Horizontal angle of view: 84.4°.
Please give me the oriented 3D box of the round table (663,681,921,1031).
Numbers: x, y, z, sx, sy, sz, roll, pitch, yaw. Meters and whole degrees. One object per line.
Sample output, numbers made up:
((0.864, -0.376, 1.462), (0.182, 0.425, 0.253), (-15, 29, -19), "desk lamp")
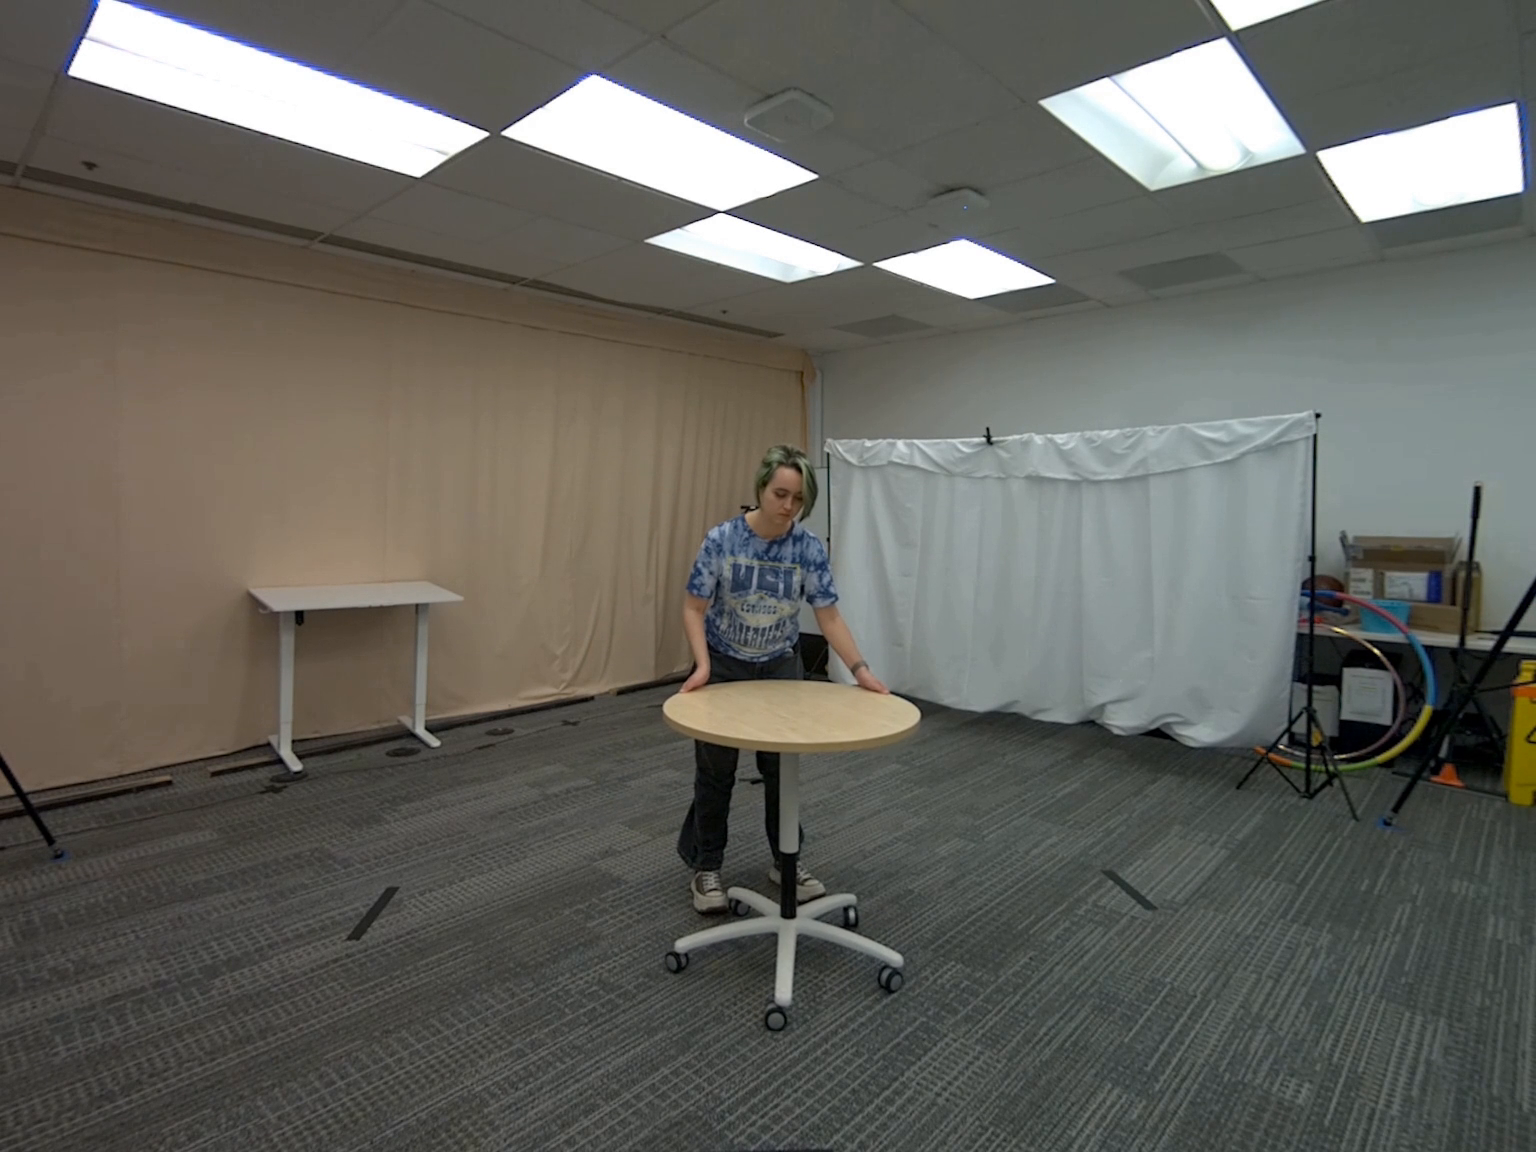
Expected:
((0.071, 0.789, 2.558), (0.763, 0.792, 0.767), (0, 4, -2), "round table")
